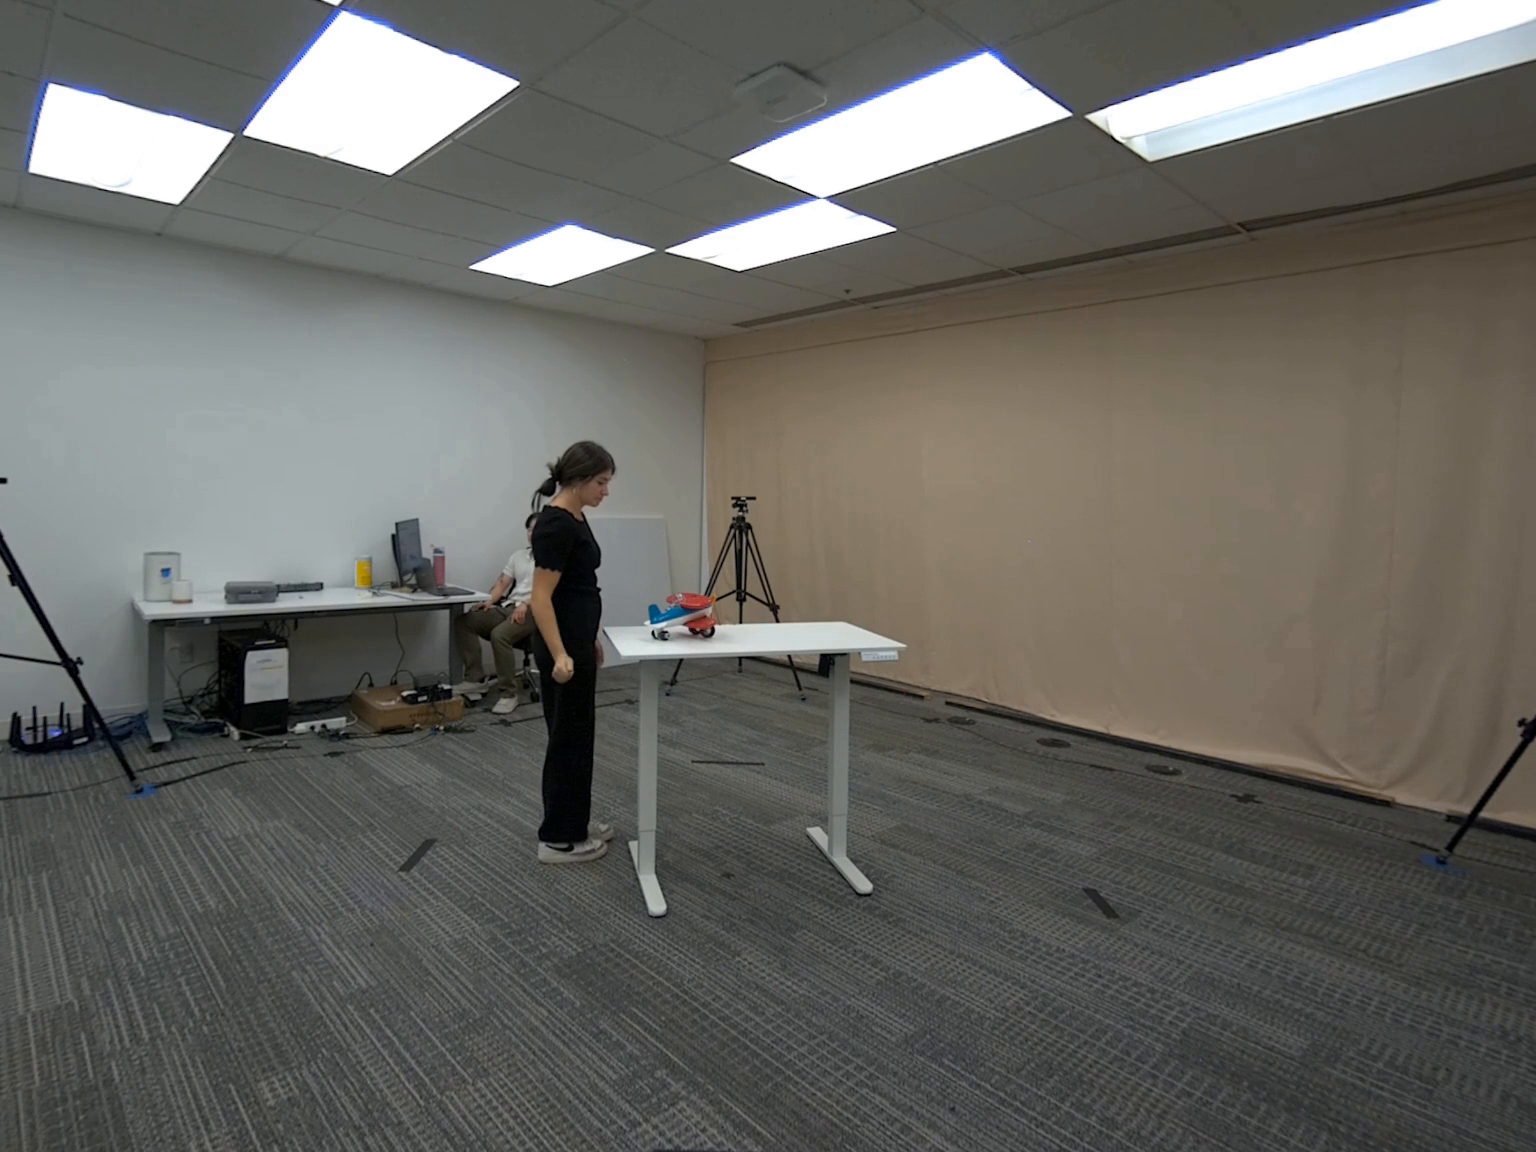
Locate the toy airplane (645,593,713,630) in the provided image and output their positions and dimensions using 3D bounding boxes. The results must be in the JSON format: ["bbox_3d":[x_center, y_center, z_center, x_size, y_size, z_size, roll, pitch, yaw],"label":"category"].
[{"bbox_3d":[-0.309,0.149,3.039,0.256,0.156,0.254,2,3,29],"label":"toy airplane"}]
